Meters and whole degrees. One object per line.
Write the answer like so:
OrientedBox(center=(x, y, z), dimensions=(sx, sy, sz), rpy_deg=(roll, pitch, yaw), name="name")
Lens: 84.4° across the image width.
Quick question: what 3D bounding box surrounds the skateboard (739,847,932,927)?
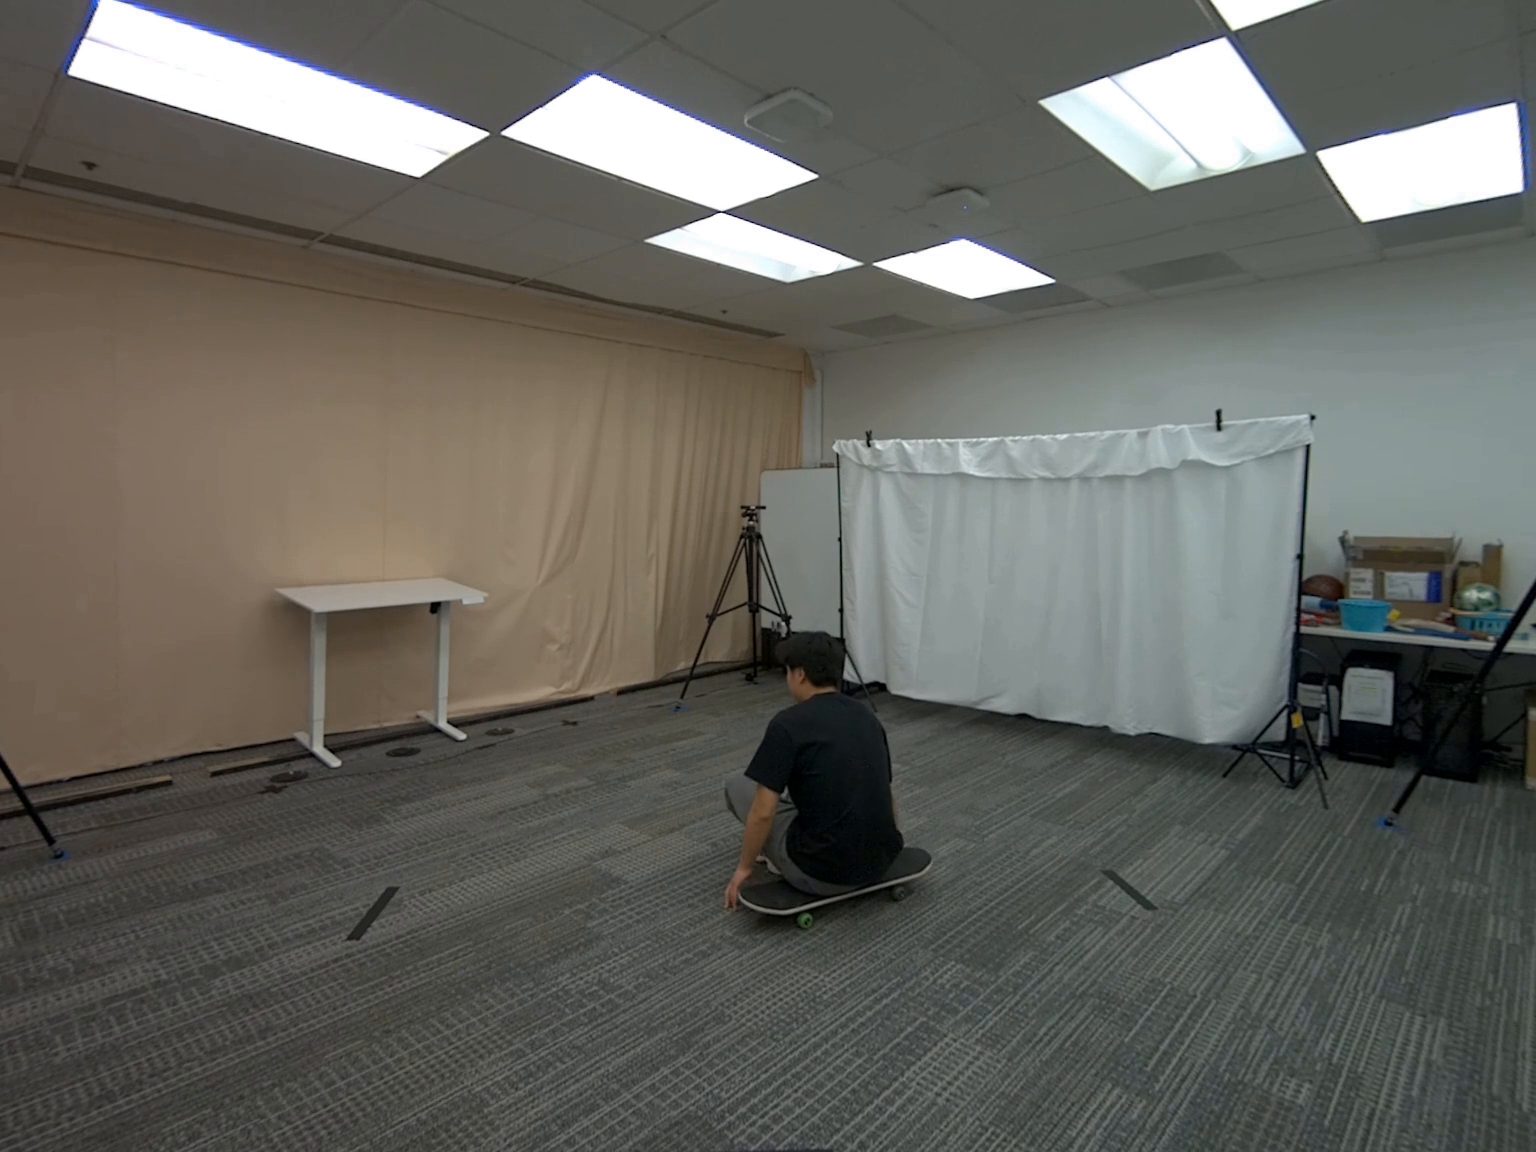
OrientedBox(center=(0.251, 1.095, 2.942), dimensions=(0.766, 0.110, 0.199), rpy_deg=(-4, 8, -27), name="skateboard")
